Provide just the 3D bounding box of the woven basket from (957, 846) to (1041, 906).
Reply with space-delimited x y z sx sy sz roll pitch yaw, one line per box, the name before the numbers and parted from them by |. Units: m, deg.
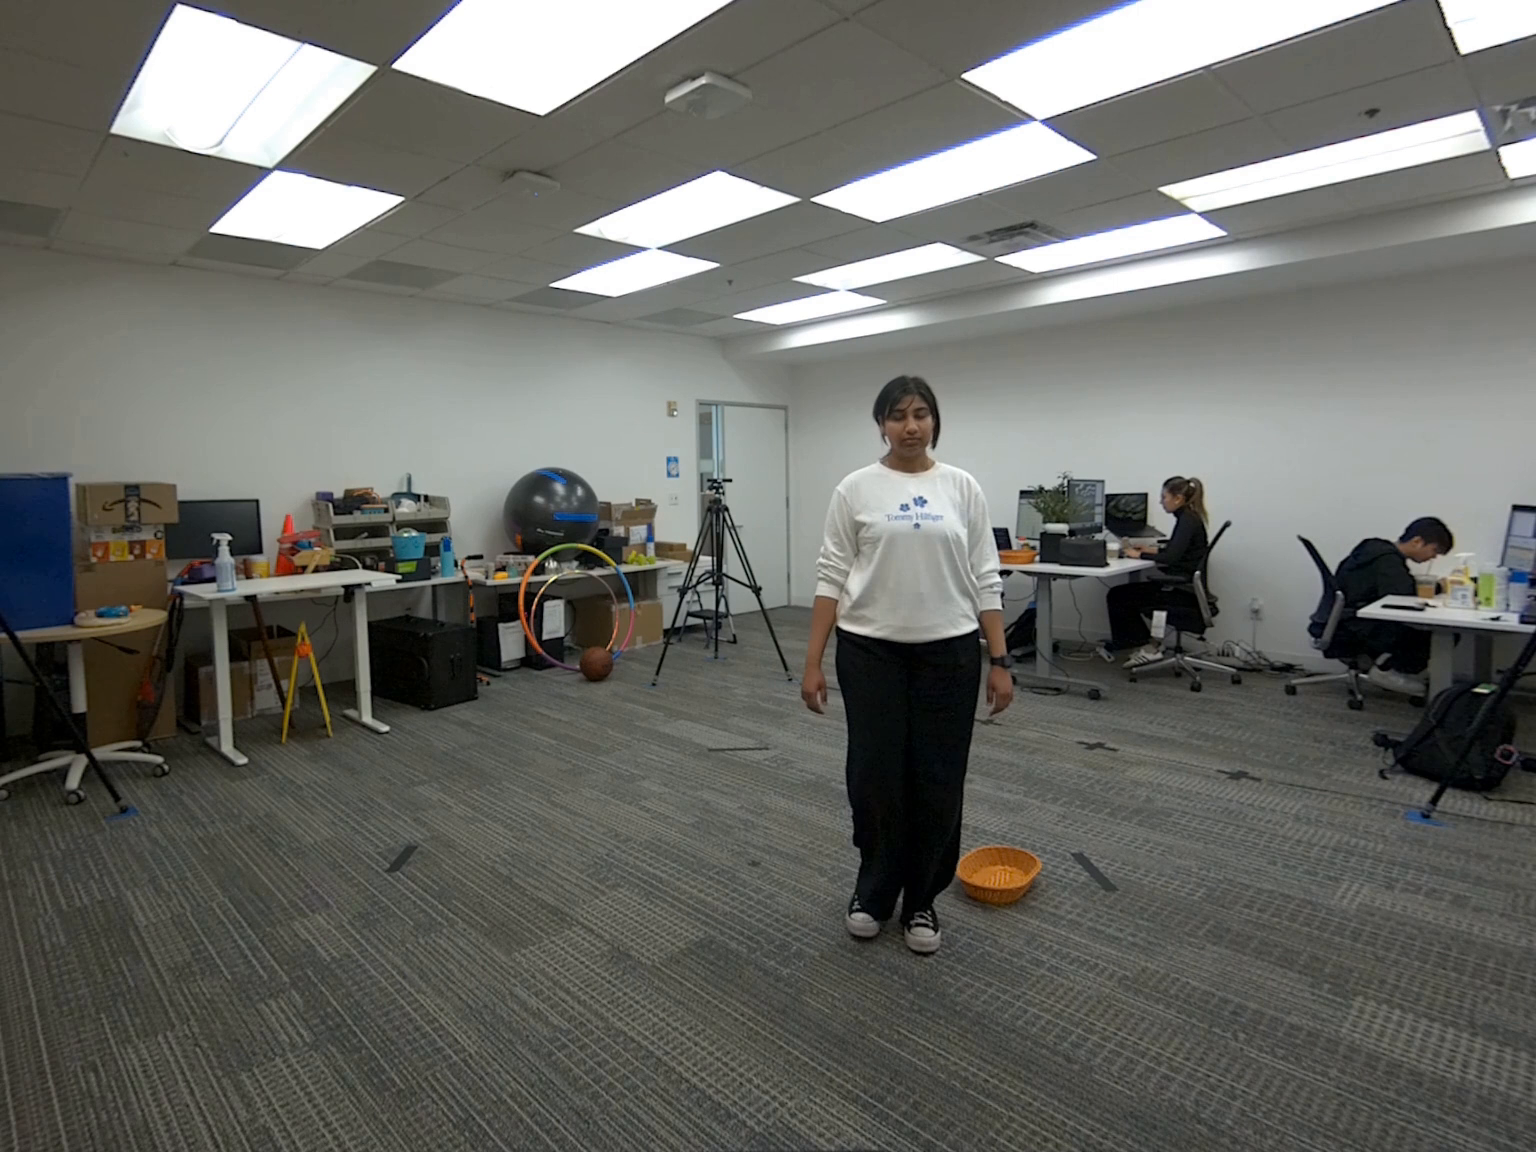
woven basket | 0.776 1.013 2.914 0.260 0.073 0.341 3 7 42
